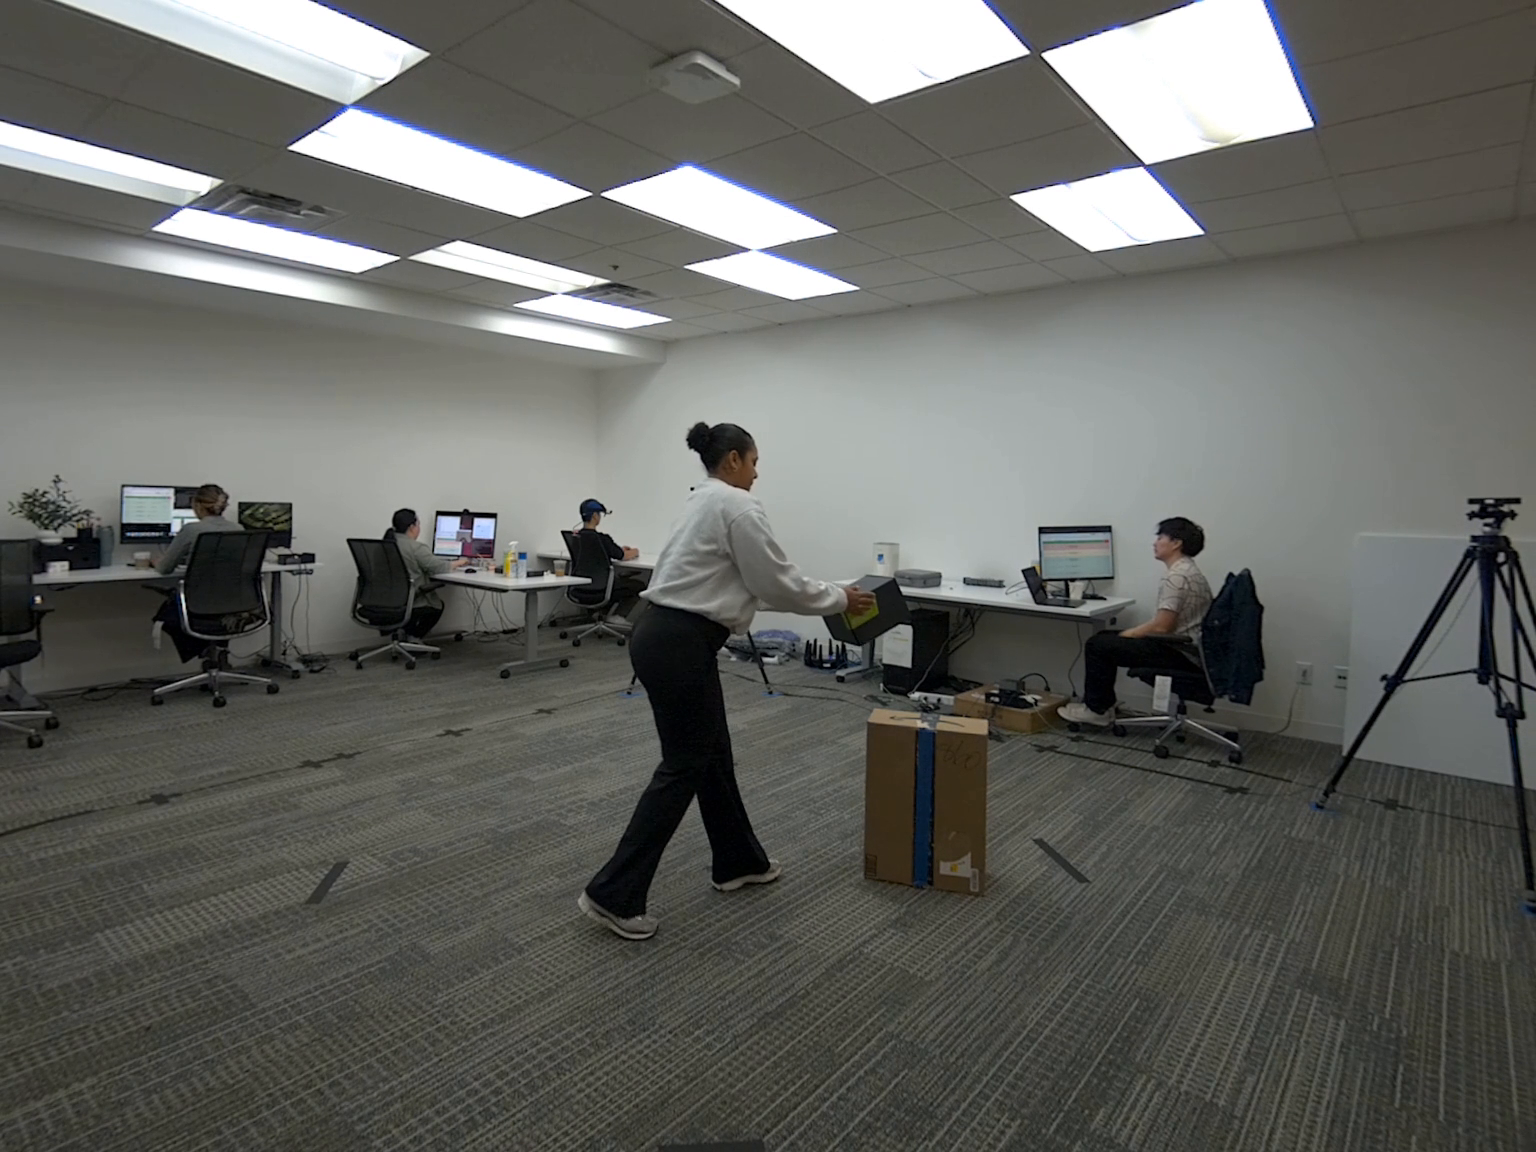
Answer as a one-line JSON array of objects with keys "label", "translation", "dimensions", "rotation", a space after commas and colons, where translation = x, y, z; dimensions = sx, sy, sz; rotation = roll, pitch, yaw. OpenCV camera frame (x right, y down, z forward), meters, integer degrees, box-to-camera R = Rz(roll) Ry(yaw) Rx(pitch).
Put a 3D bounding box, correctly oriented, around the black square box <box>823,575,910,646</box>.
[{"label": "black square box", "translation": [0.321, 0.133, 3.015], "dimensions": [0.226, 0.154, 0.221], "rotation": [-26, 10, -15]}]
